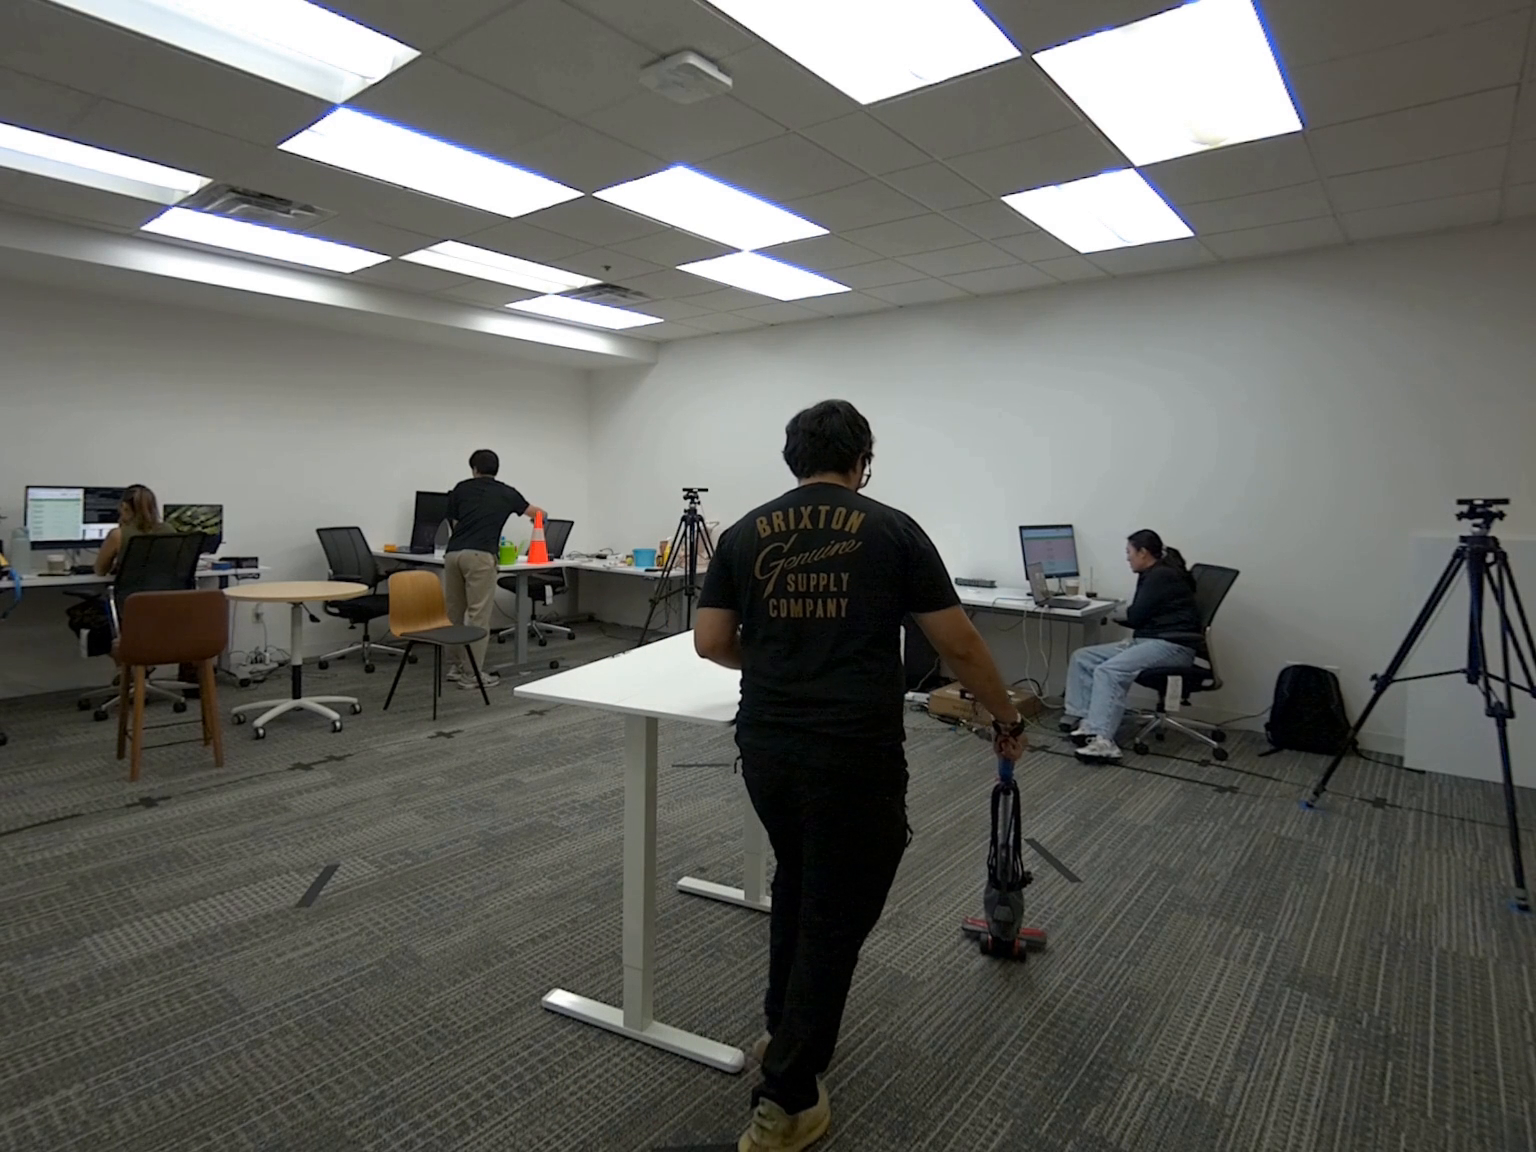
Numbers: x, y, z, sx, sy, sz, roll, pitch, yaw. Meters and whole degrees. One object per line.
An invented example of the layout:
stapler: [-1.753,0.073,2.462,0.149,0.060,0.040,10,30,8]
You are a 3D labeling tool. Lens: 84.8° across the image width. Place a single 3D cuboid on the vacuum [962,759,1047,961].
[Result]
vacuum: [0.627,0.758,2.300,0.258,1.012,0.146,2,43,18]
